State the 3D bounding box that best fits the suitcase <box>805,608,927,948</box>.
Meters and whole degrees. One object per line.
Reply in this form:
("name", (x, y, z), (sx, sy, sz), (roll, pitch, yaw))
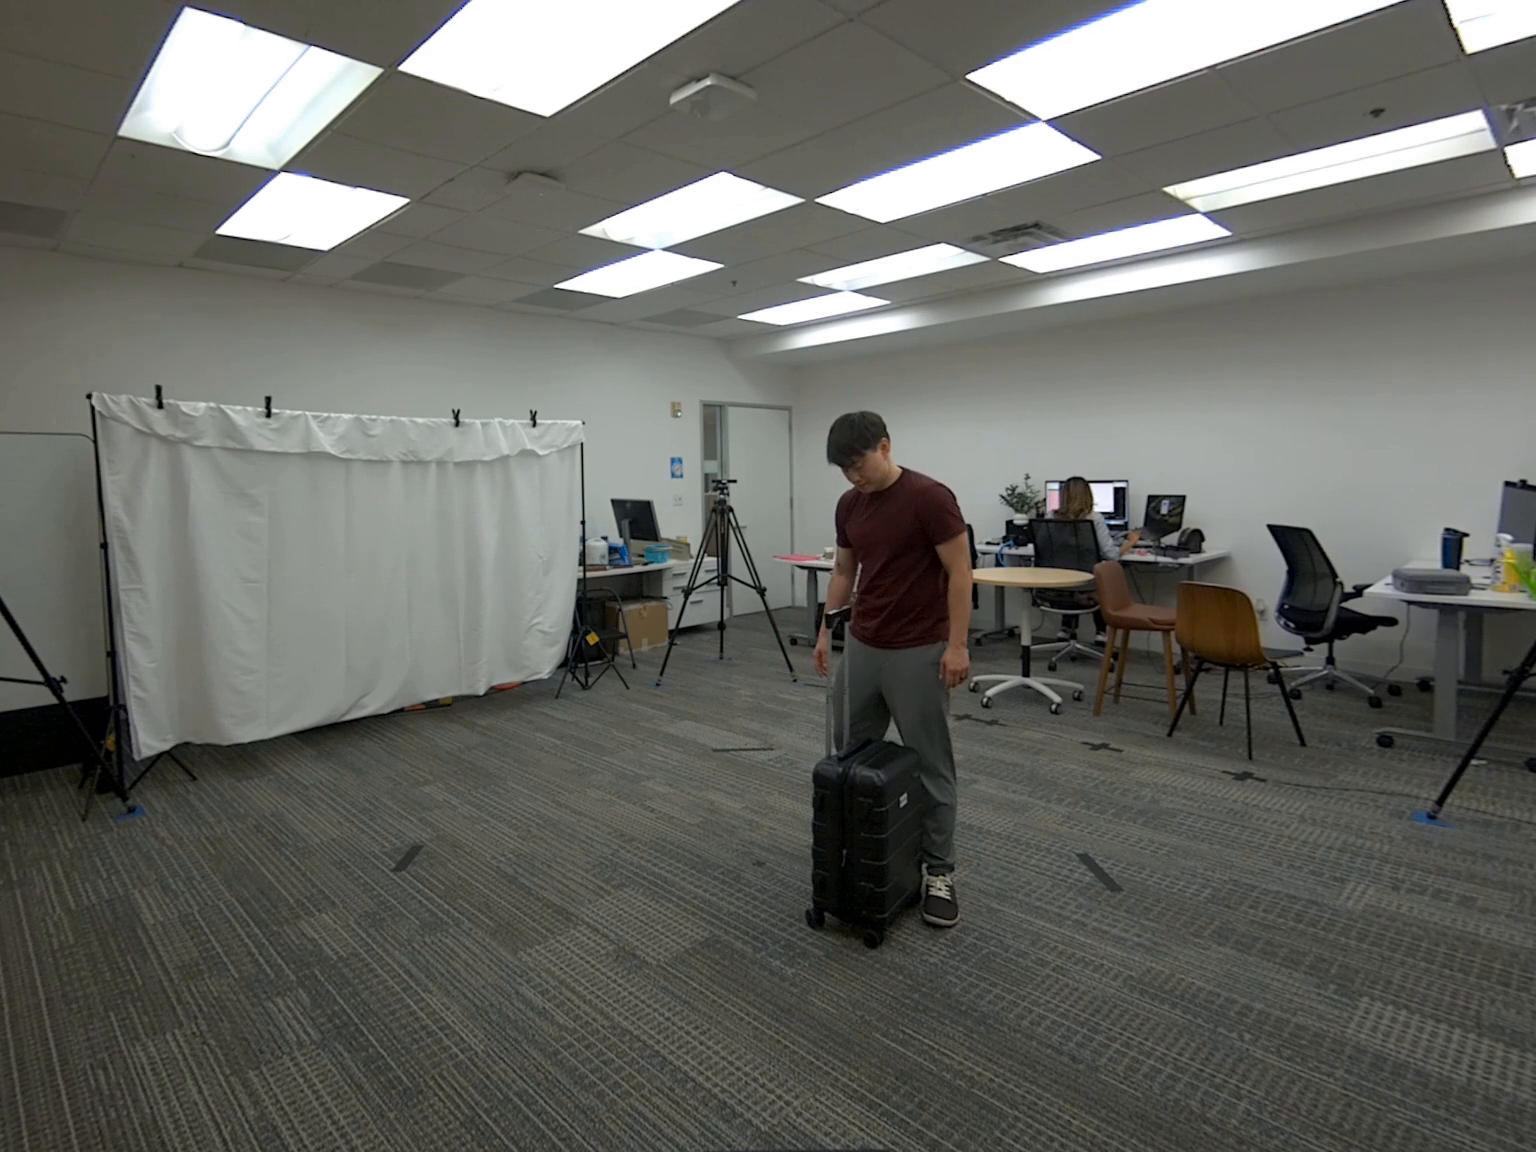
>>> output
("suitcase", (0.325, 0.611, 2.685), (0.264, 0.974, 0.375), (4, 6, 32))
